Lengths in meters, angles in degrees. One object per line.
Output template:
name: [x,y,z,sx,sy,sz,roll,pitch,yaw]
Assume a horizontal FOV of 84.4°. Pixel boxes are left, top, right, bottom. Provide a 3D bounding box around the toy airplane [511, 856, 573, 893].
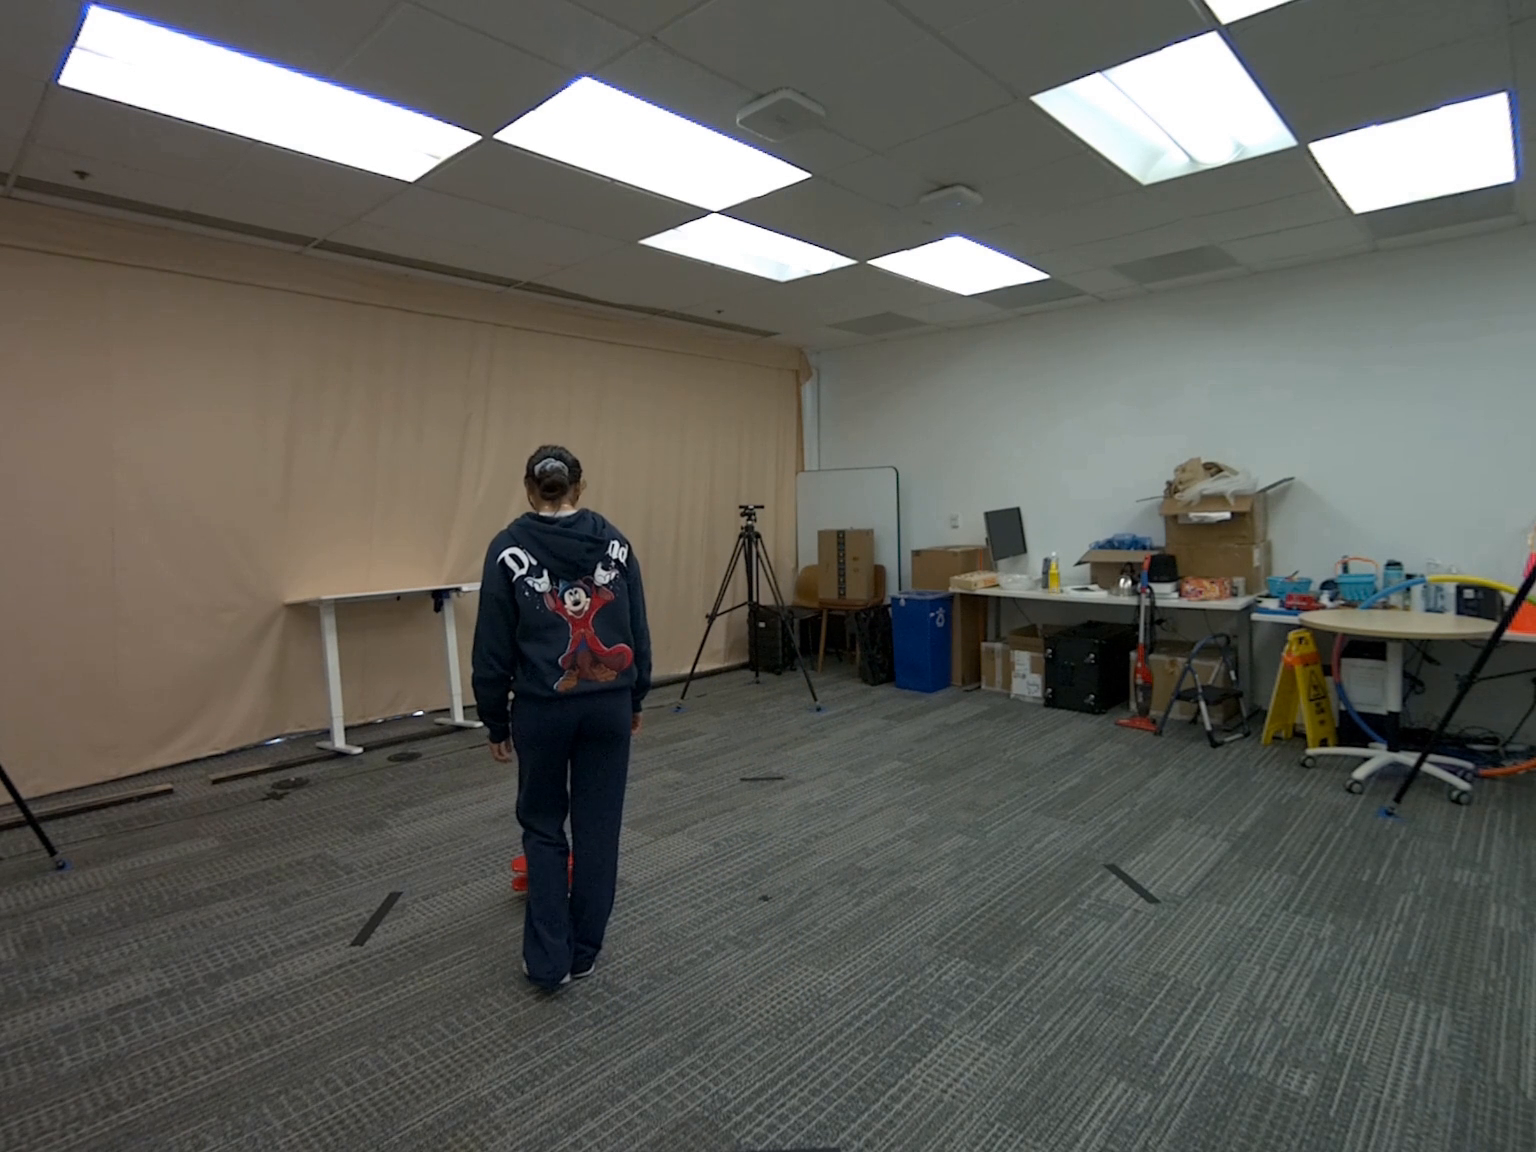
toy airplane: [-0.763,1.081,3.002,0.267,0.156,0.243,0,4,44]
